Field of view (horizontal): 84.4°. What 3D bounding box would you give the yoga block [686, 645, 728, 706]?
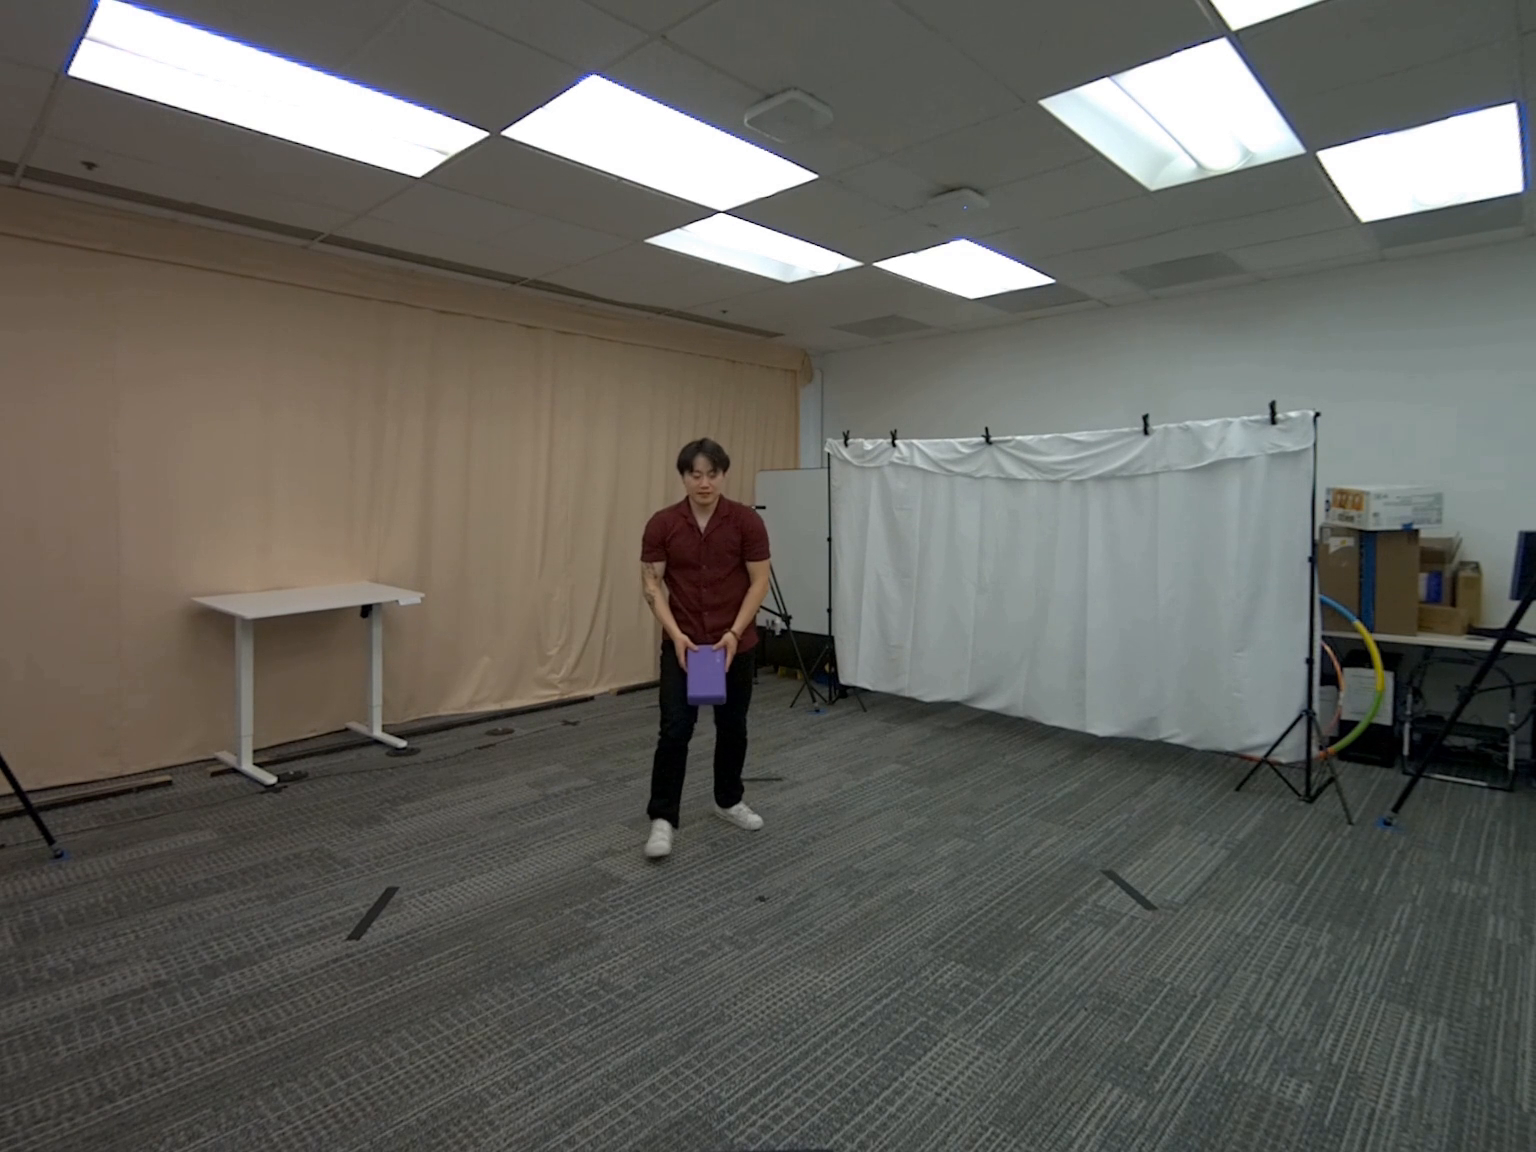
[{"bbox_3d":[-0.256,0.386,3.280,0.149,0.233,0.075,0,-29,-1],"label":"yoga block"}]
